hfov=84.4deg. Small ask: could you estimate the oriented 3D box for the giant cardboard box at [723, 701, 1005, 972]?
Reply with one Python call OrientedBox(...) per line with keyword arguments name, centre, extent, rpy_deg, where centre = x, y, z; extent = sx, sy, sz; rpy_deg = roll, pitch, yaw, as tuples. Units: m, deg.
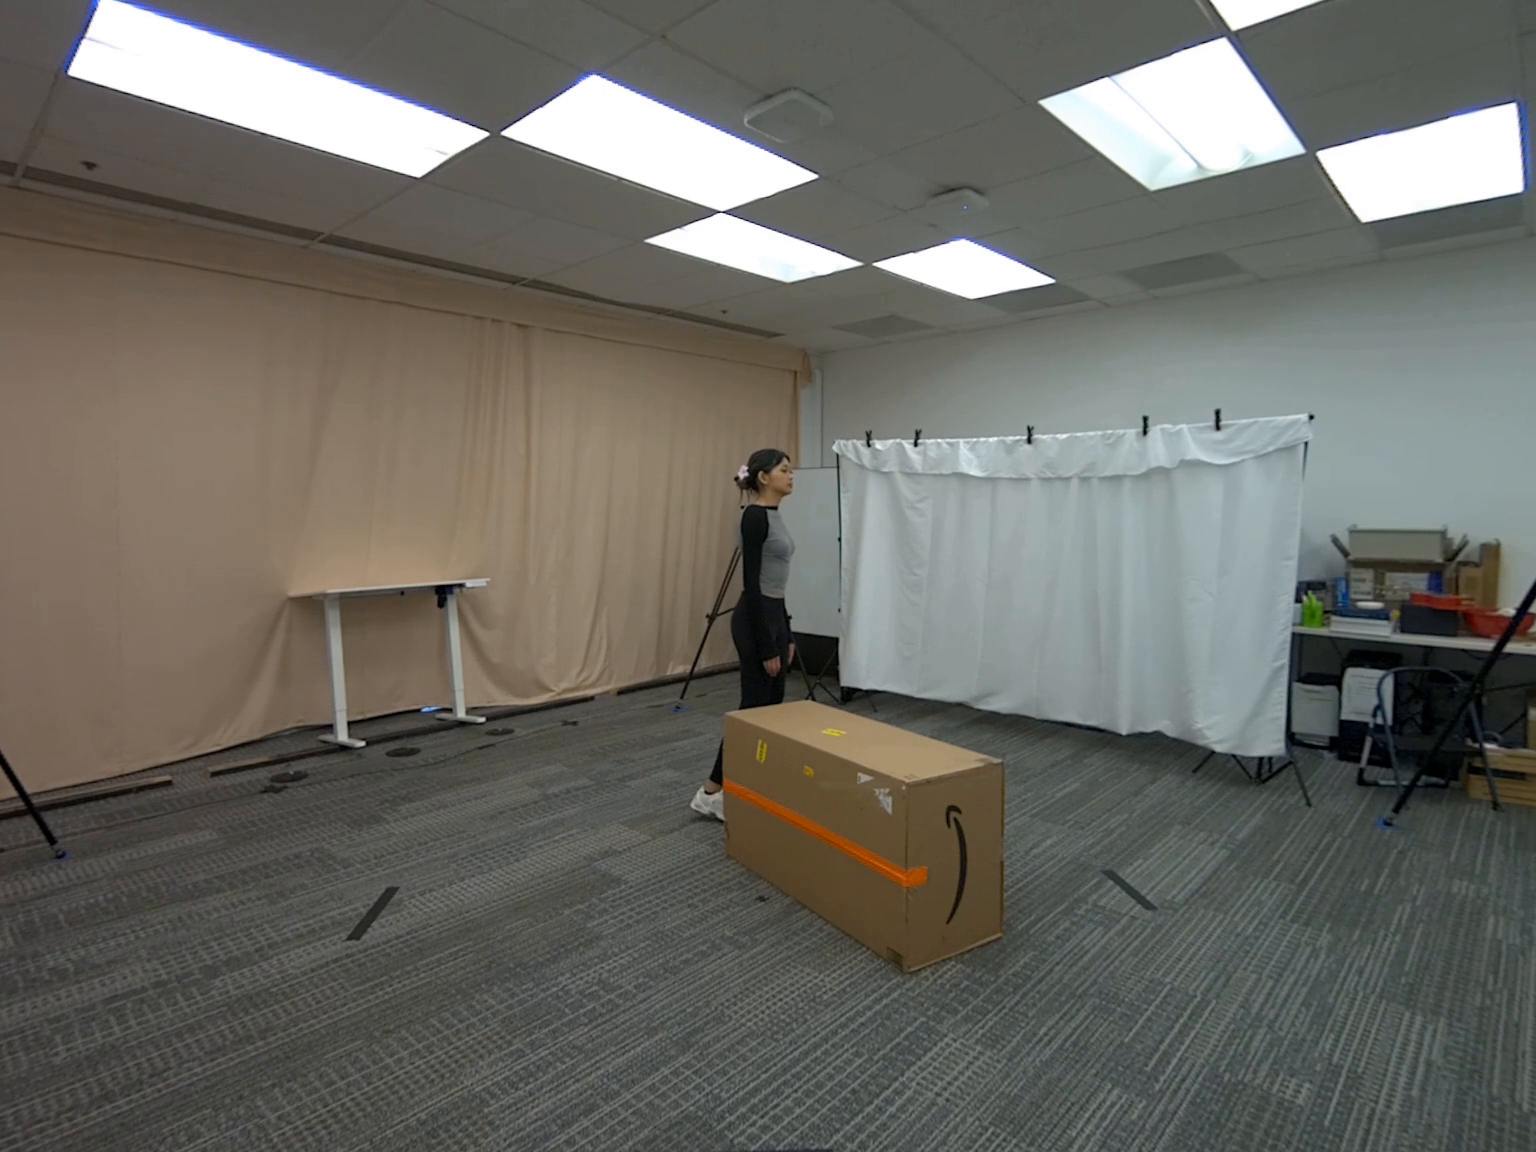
OrientedBox(name="giant cardboard box", centre=(0.293, 0.852, 3.024), extent=(0.414, 0.576, 1.057), rpy_deg=(-2, 4, -34))
